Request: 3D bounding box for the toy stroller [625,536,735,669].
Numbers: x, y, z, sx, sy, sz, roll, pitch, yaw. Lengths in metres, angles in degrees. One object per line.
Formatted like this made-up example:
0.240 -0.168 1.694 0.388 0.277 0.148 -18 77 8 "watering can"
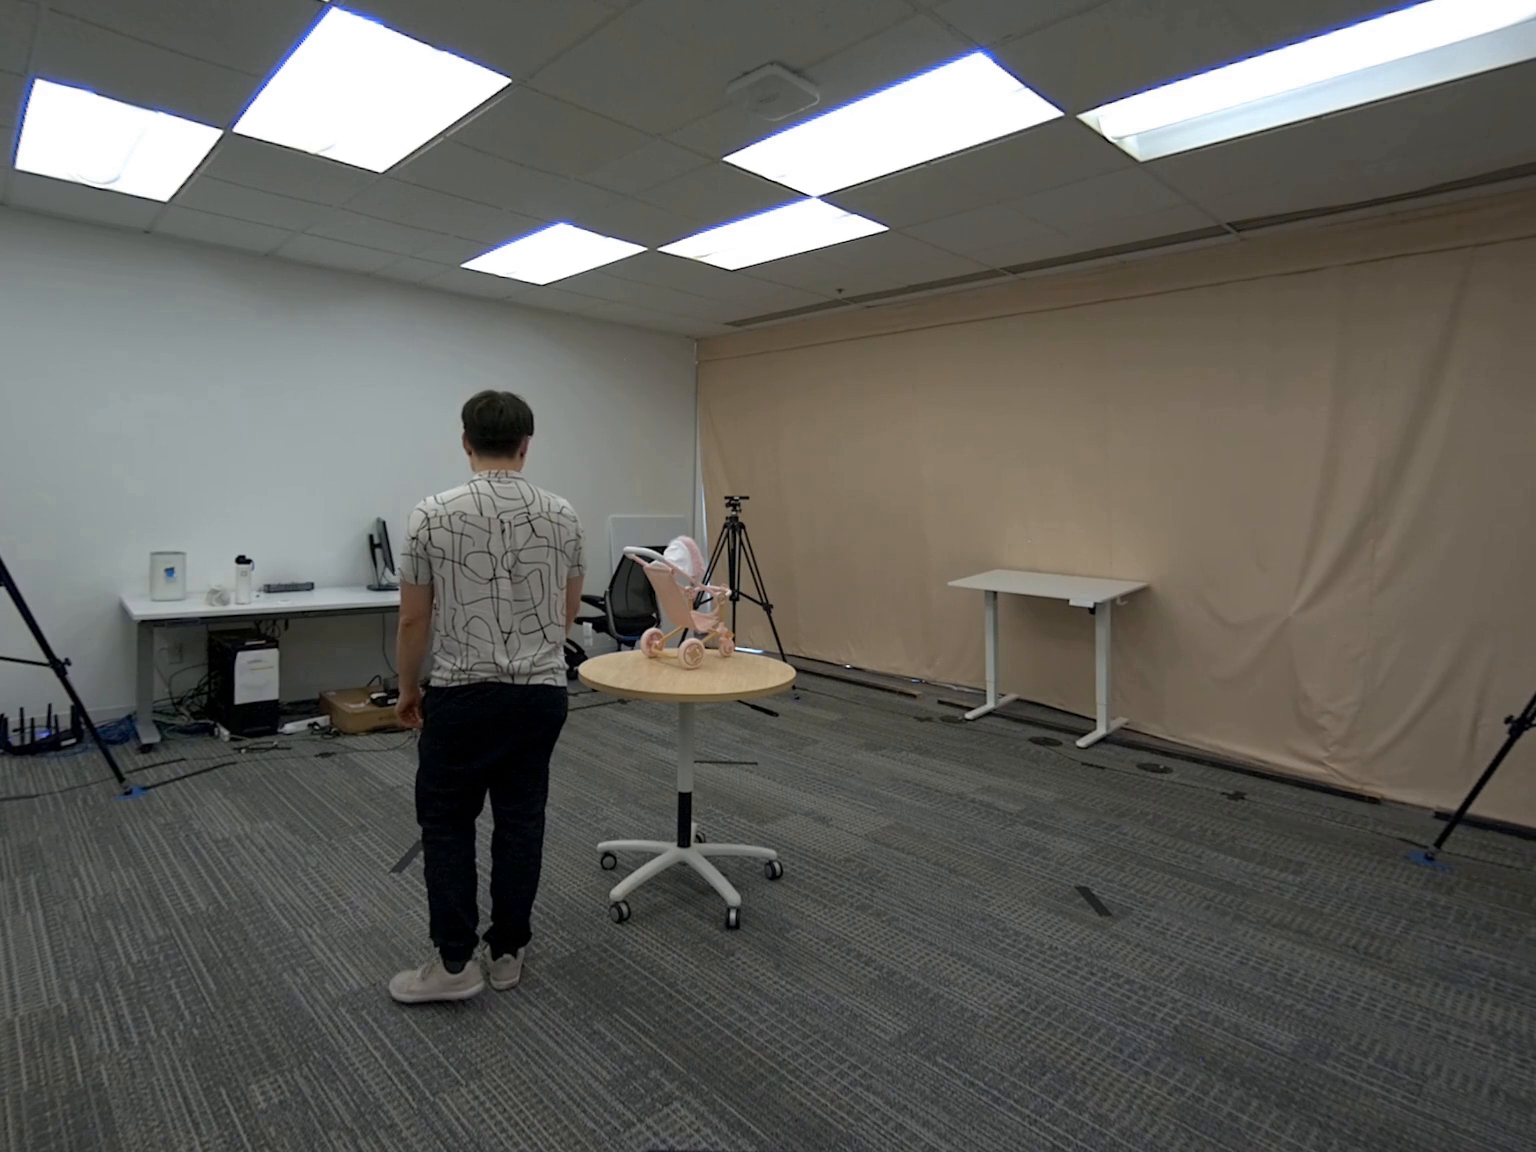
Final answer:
-0.303 0.095 3.084 0.337 0.529 0.288 -21 16 -33 "toy stroller"
